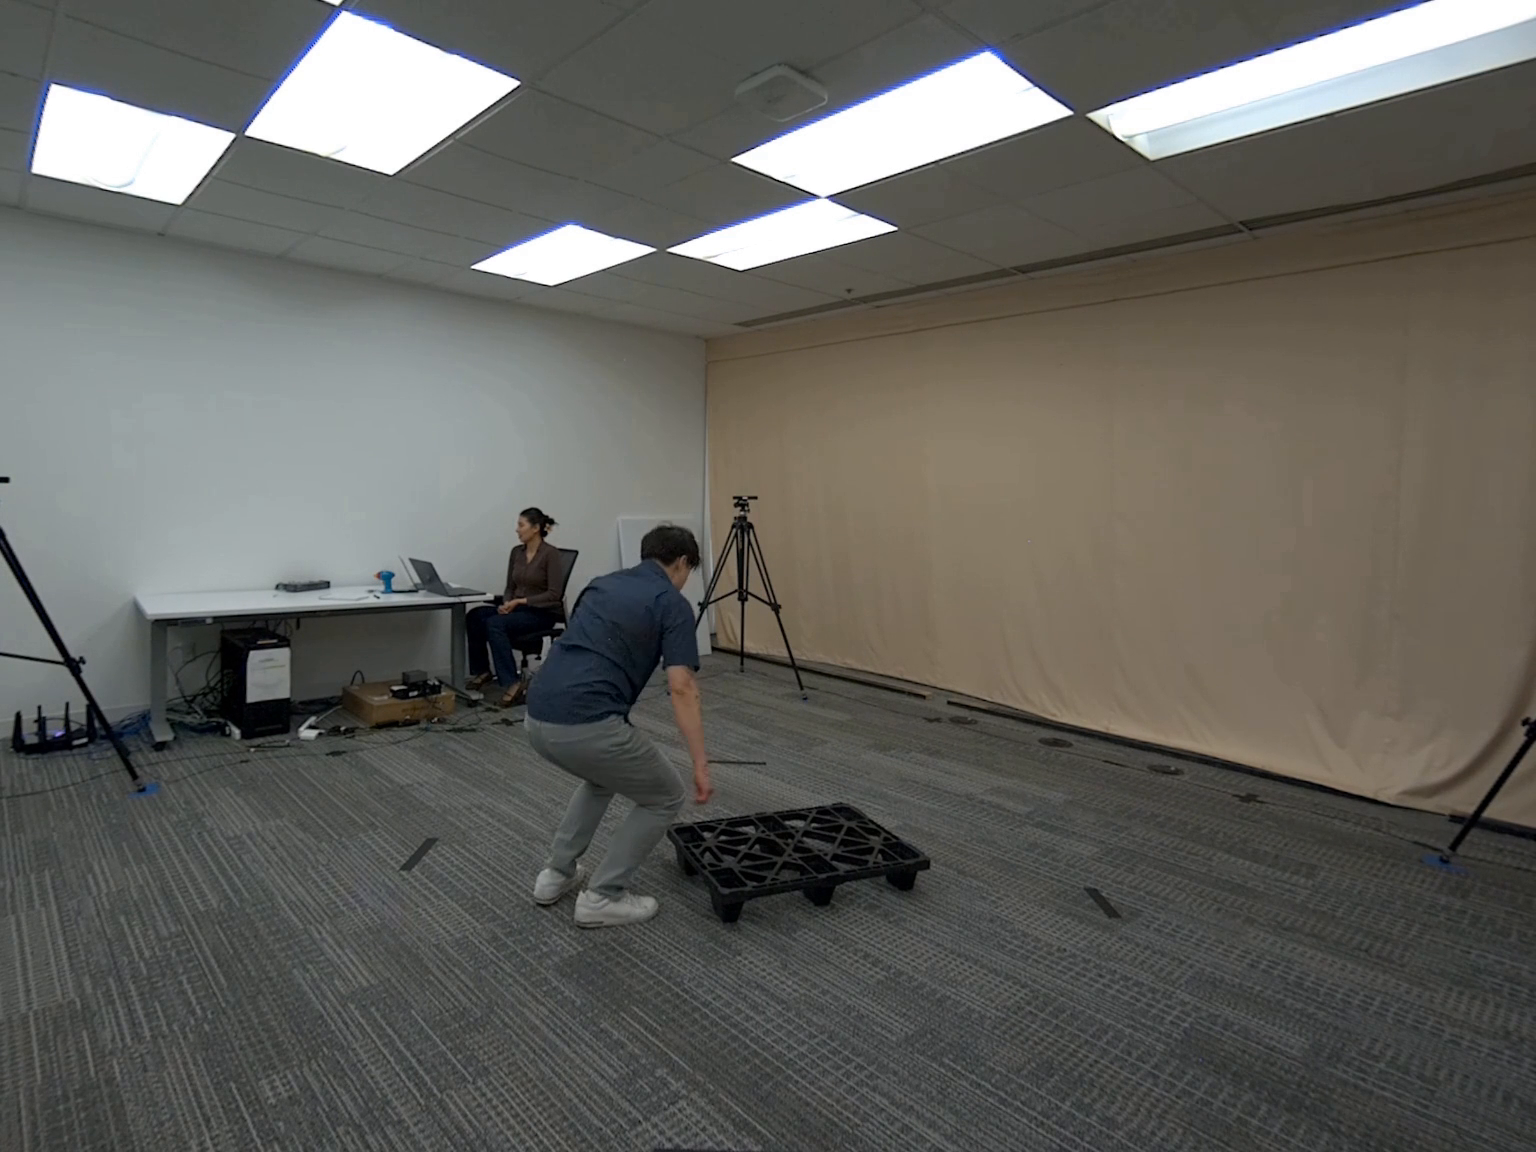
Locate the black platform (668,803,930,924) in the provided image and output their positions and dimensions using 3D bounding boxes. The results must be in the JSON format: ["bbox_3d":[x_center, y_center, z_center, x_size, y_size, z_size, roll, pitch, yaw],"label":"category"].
[{"bbox_3d":[0.091,1.042,3.093,0.792,0.143,0.617,-1,6,-23],"label":"black platform"}]
